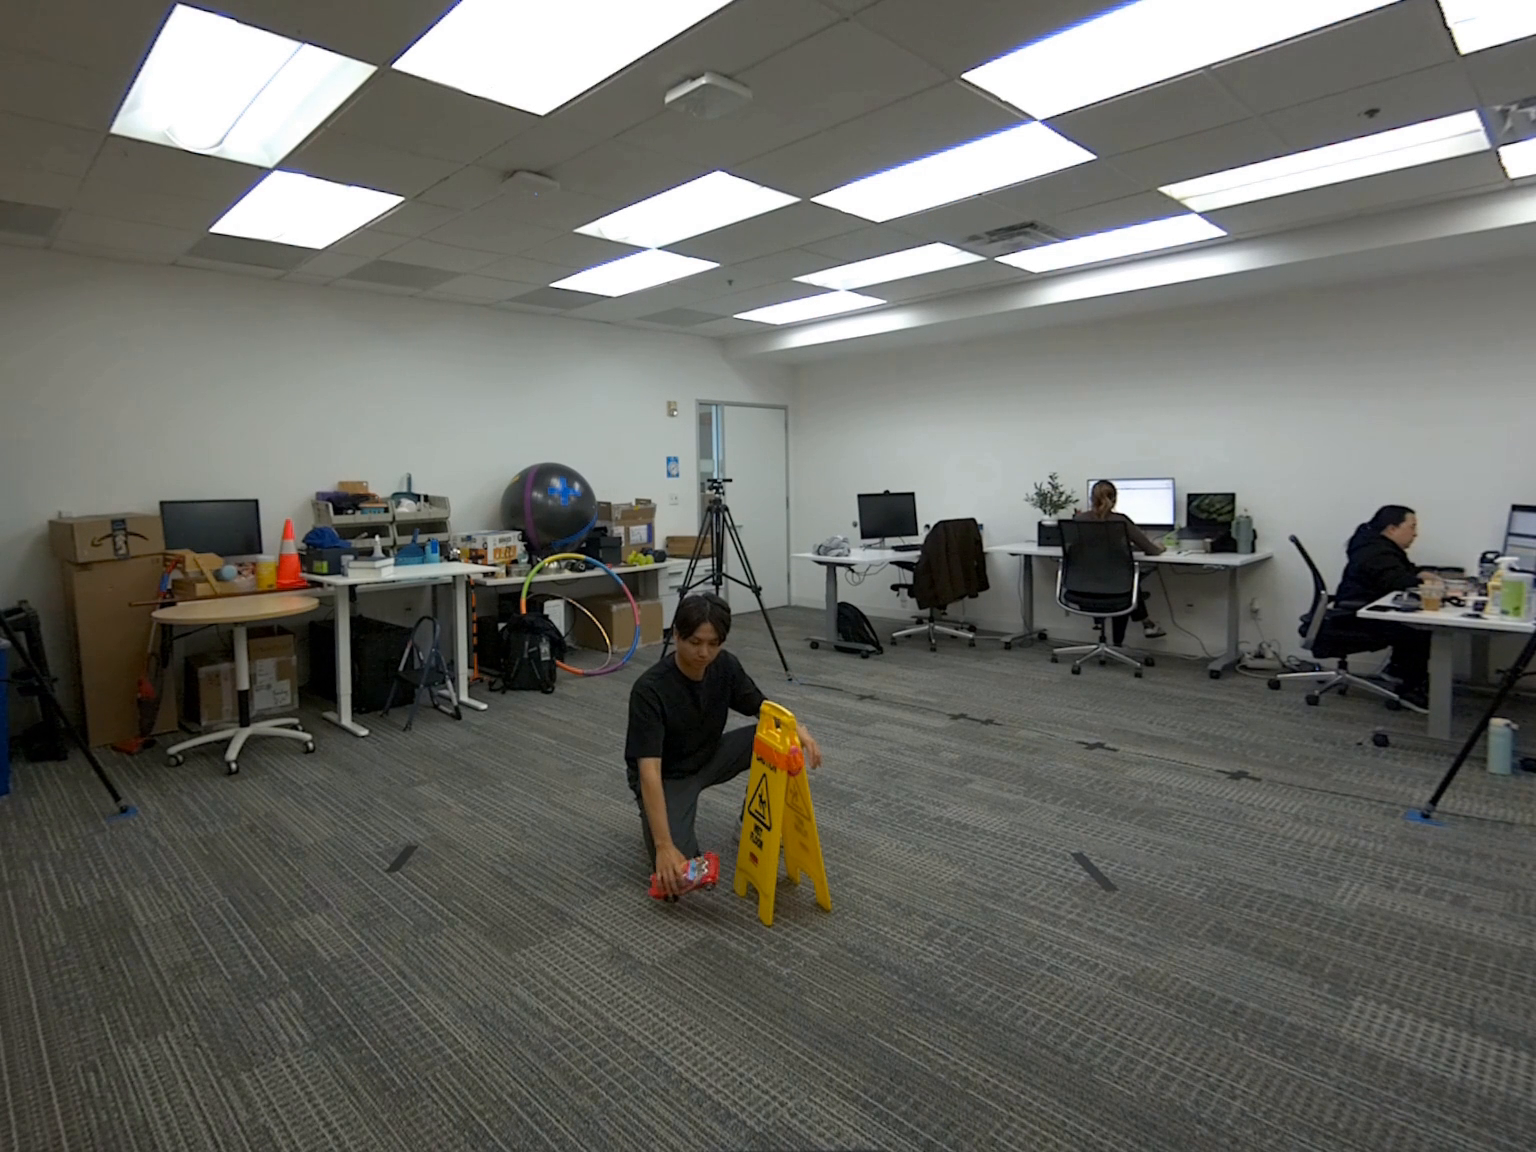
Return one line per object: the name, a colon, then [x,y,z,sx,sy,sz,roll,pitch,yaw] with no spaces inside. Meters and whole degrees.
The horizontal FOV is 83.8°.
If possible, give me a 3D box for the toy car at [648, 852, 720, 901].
toy car: [-0.274,0.982,2.772,0.257,0.080,0.133,-16,33,14]
